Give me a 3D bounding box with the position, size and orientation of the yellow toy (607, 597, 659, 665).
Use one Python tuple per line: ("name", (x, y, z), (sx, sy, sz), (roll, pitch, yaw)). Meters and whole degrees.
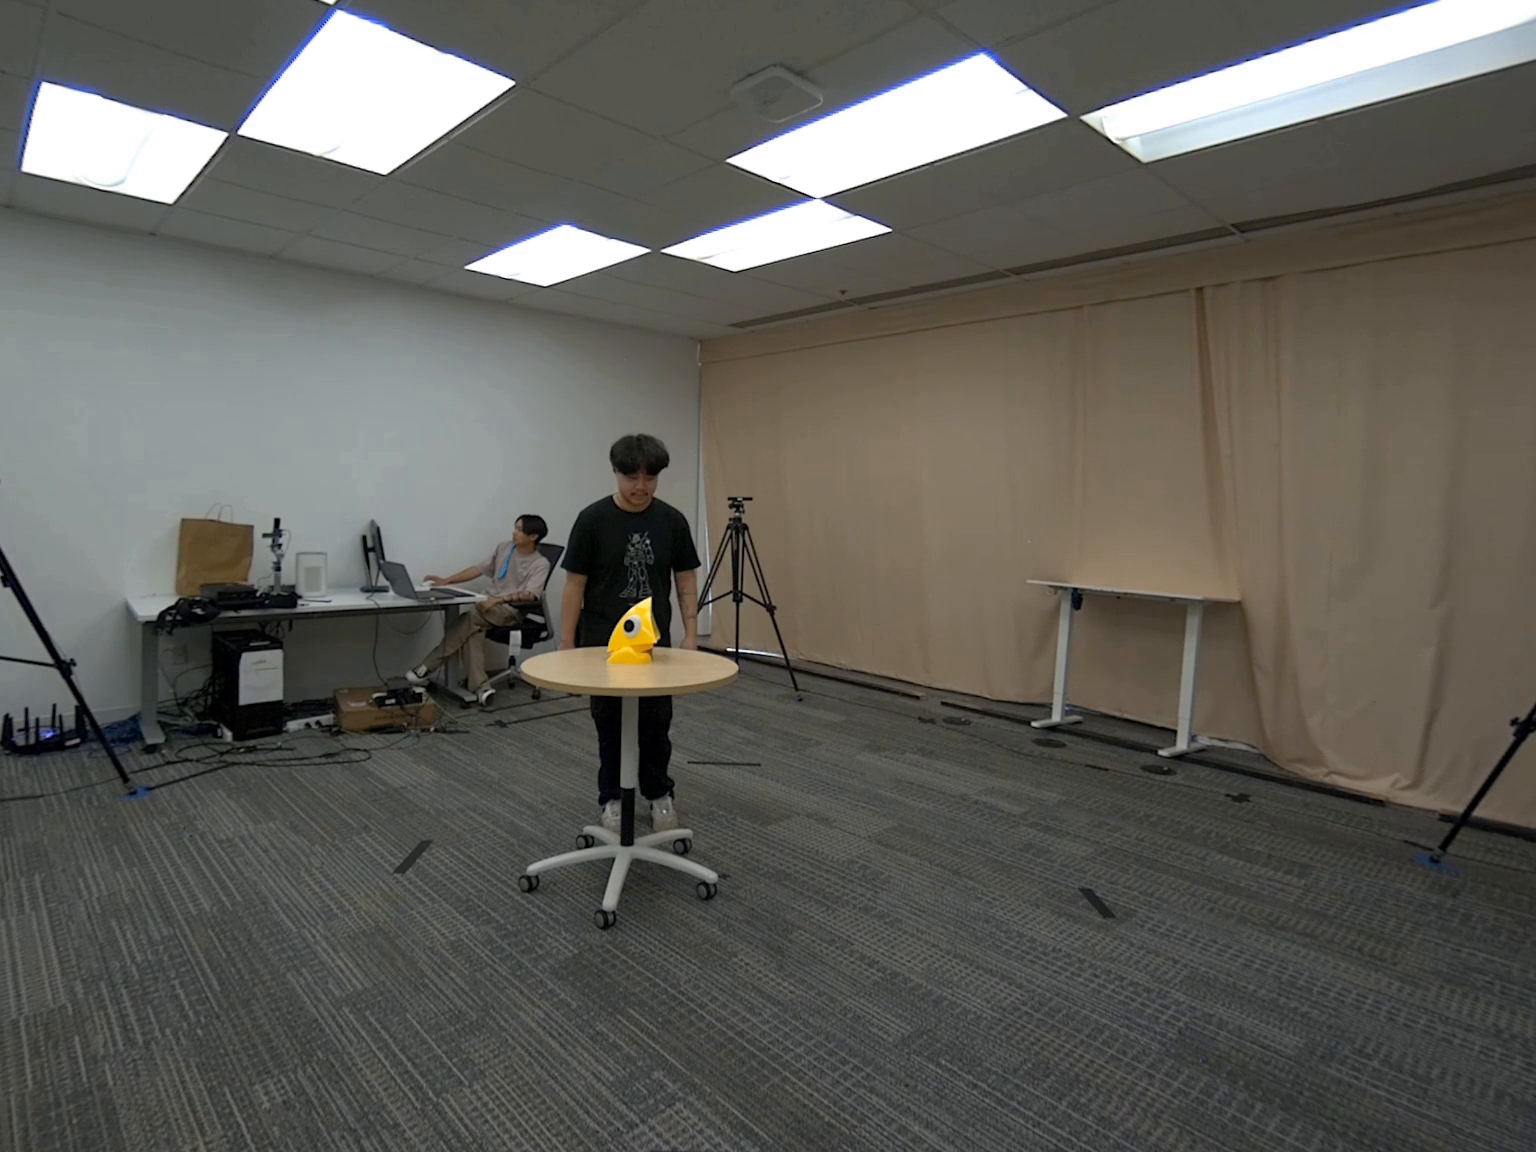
("yellow toy", (-0.505, 0.192, 3.102), (0.192, 0.230, 0.206), (3, 4, -4))
